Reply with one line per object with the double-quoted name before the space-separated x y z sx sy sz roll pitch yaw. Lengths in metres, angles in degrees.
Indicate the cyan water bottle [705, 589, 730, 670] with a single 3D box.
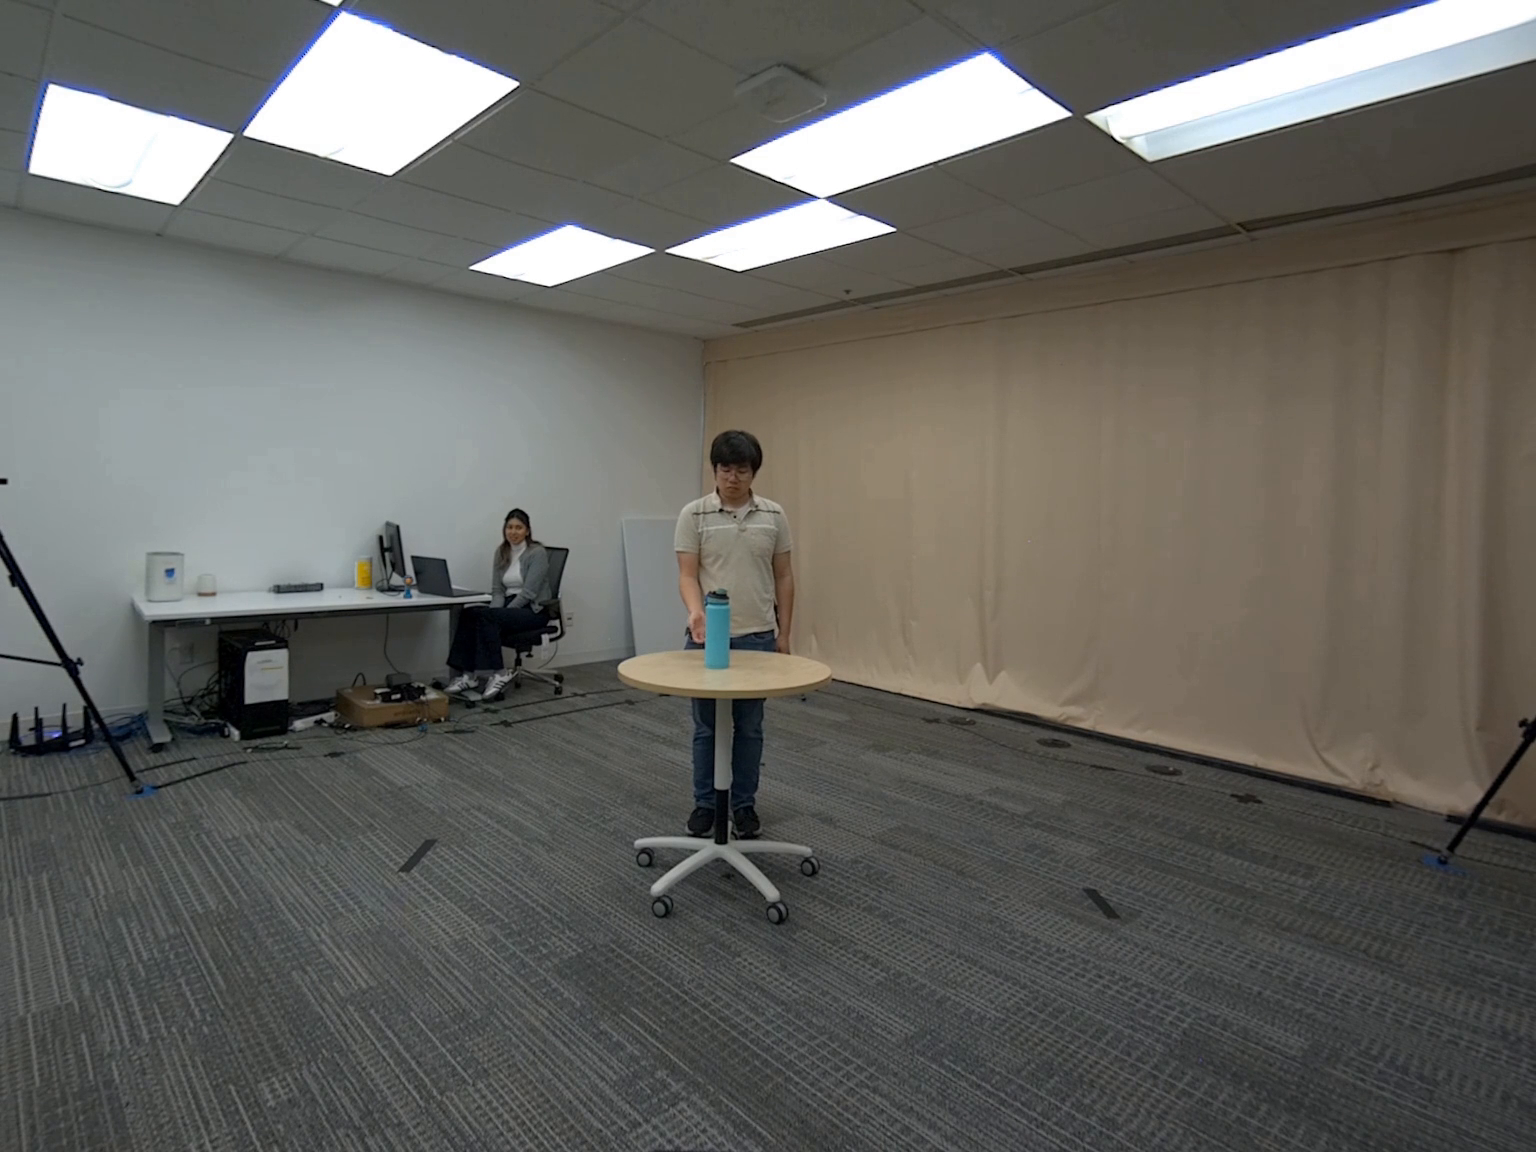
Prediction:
"cyan water bottle" -0.193 0.190 3.037 0.092 0.283 0.092 1 1 -1
